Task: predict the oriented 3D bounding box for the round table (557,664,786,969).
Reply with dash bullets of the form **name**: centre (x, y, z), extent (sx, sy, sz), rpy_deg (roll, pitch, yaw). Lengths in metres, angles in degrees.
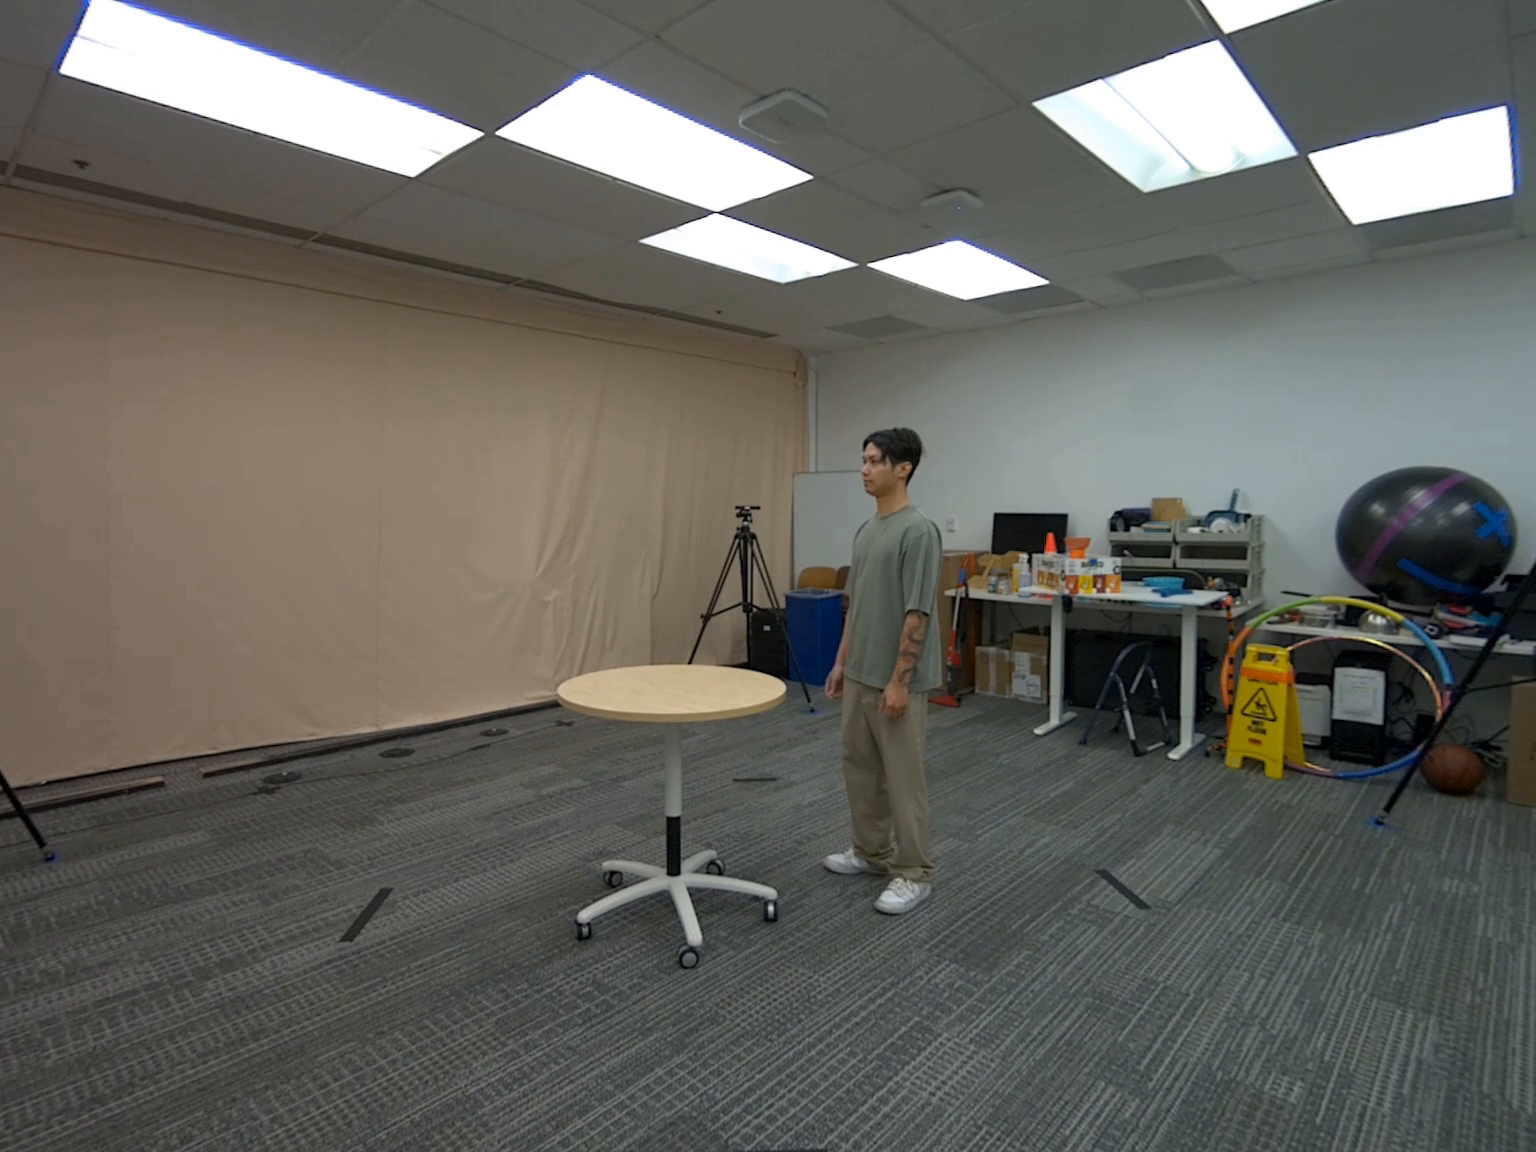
- **round table**: centre (-0.336, 0.766, 2.859), extent (0.784, 0.785, 0.787), rpy_deg (1, 3, -2)
